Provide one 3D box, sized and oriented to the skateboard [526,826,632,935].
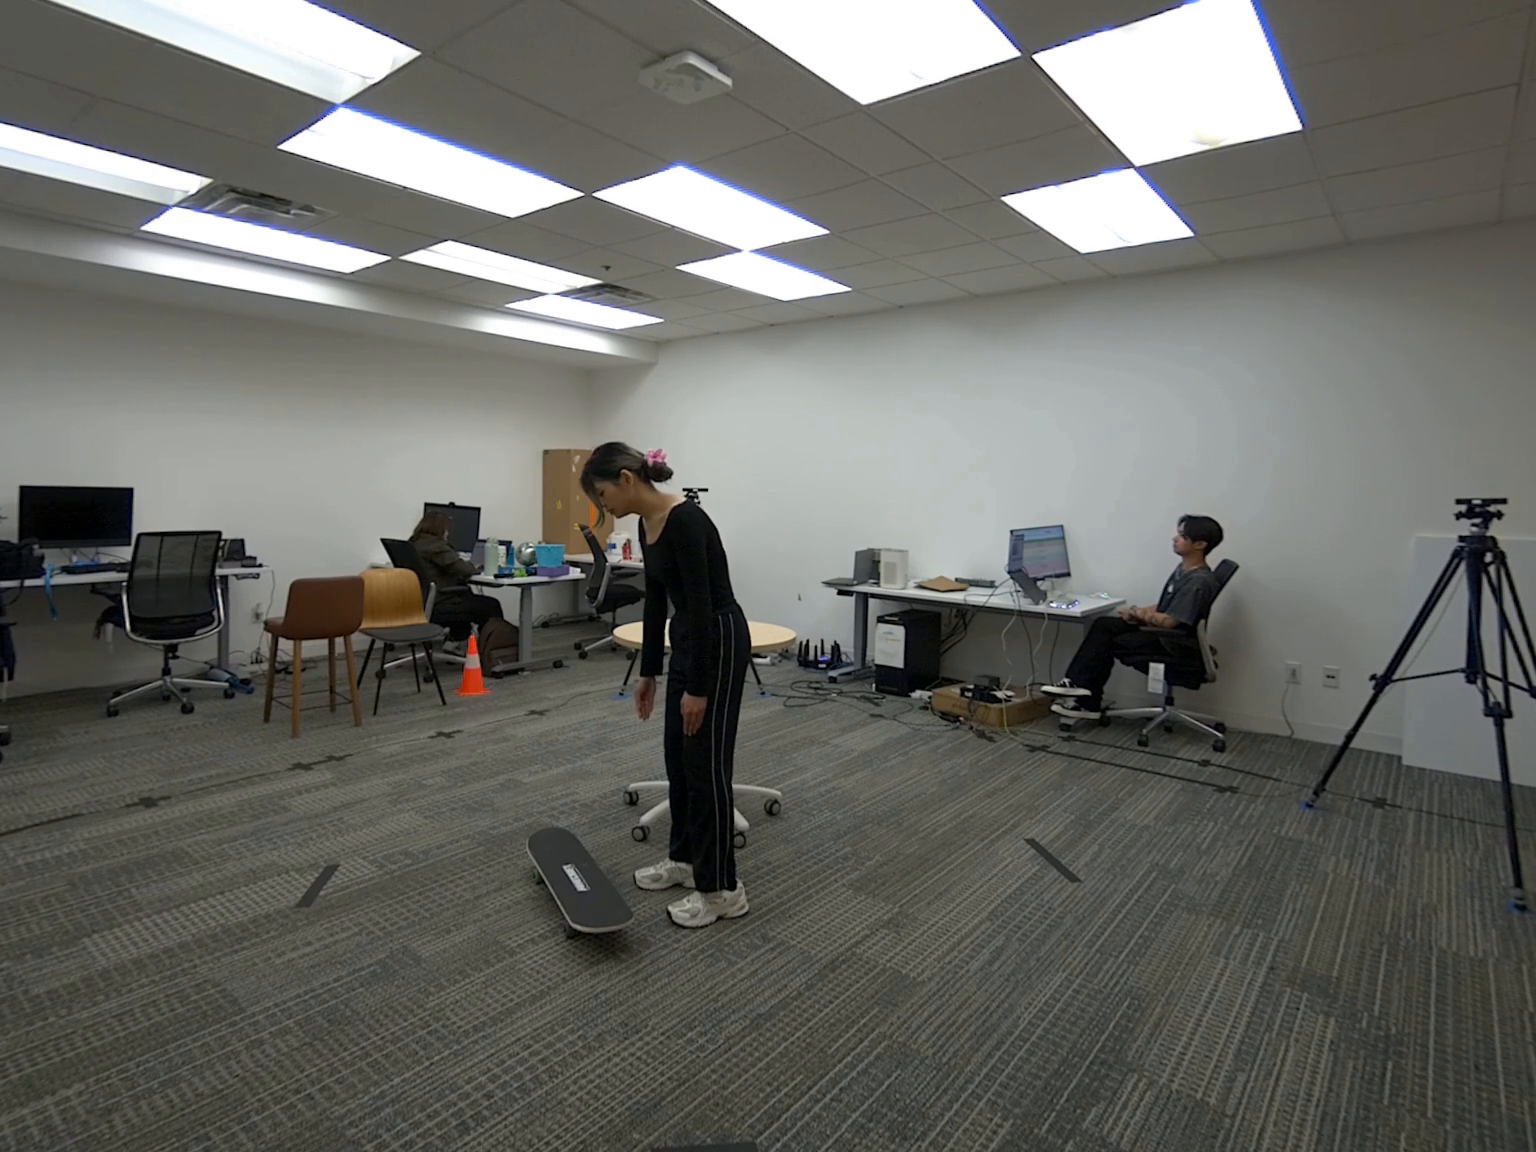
[{"bbox_3d":[-0.647,1.028,2.829,0.189,0.110,0.808,-2,6,-28],"label":"skateboard"}]
